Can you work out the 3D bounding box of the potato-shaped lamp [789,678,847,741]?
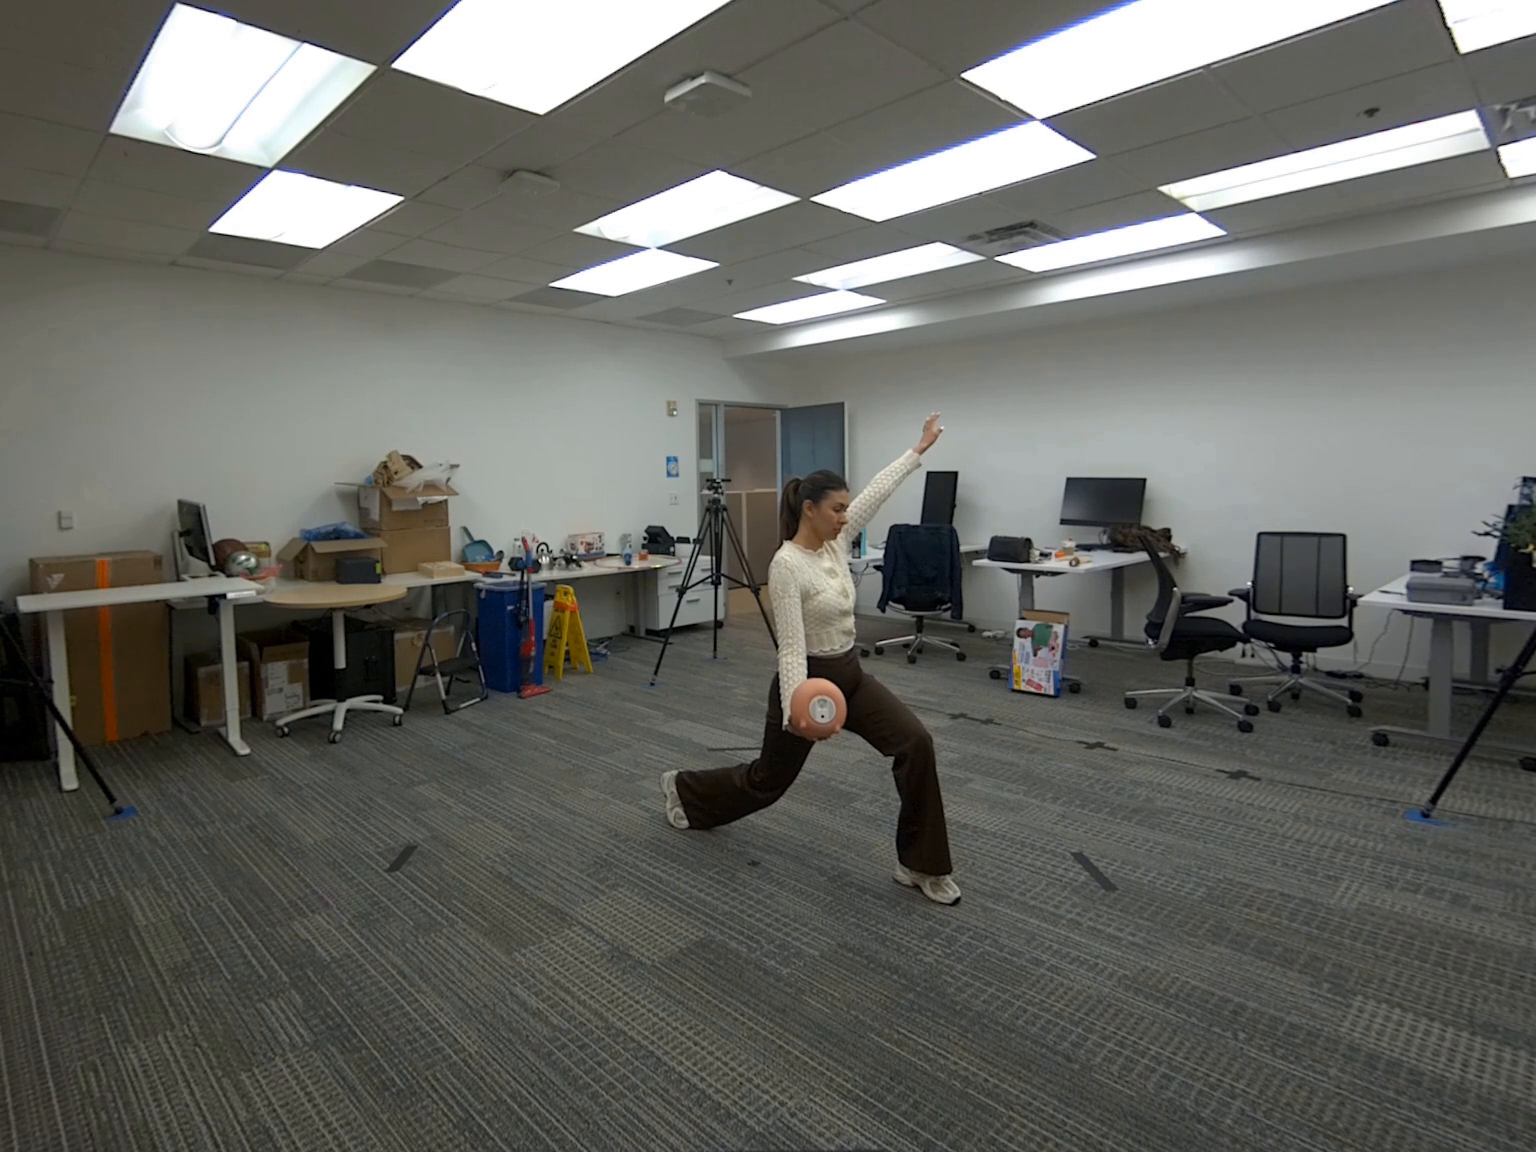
[{"bbox_3d":[0.135,0.397,2.554,0.164,0.173,0.197,13,-14,-6],"label":"potato-shaped lamp"}]
